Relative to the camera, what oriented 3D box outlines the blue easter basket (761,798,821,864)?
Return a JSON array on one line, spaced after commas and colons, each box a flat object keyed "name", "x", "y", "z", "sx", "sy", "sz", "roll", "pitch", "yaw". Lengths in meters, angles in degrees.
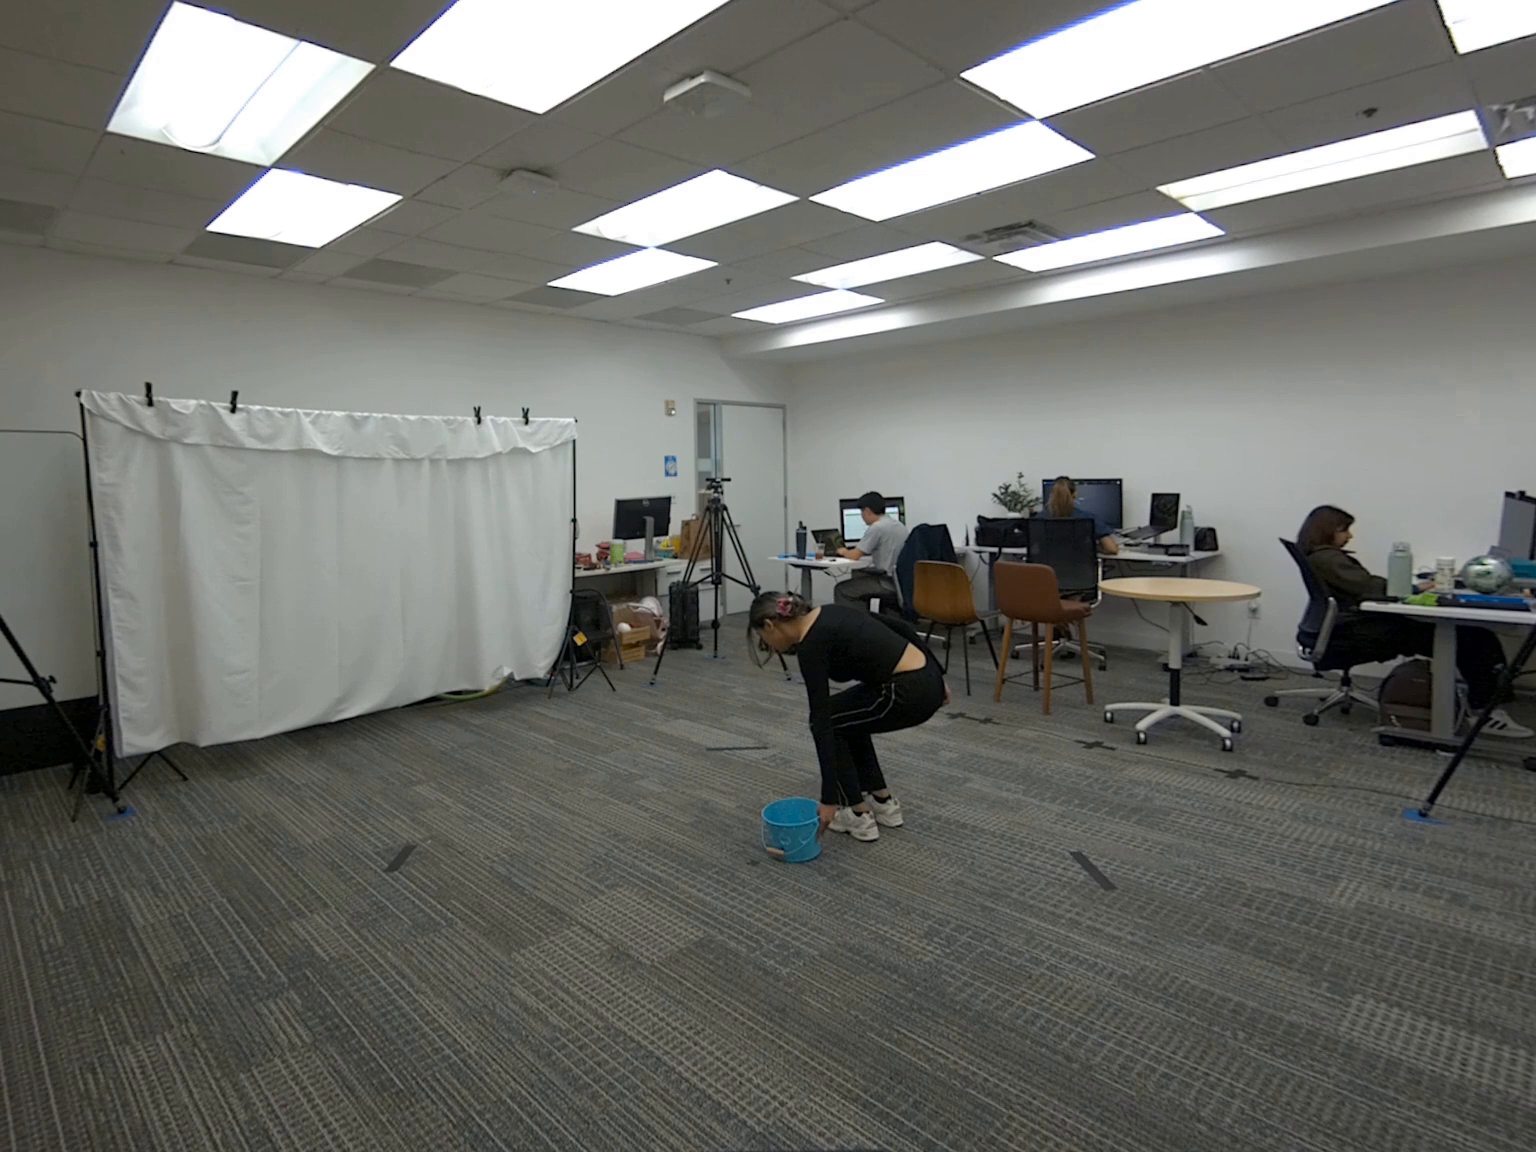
[{"name": "blue easter basket", "x": 0.096, "y": 0.948, "z": 3.182, "sx": 0.243, "sy": 0.155, "sz": 0.245, "roll": -4, "pitch": 8, "yaw": -1}]
